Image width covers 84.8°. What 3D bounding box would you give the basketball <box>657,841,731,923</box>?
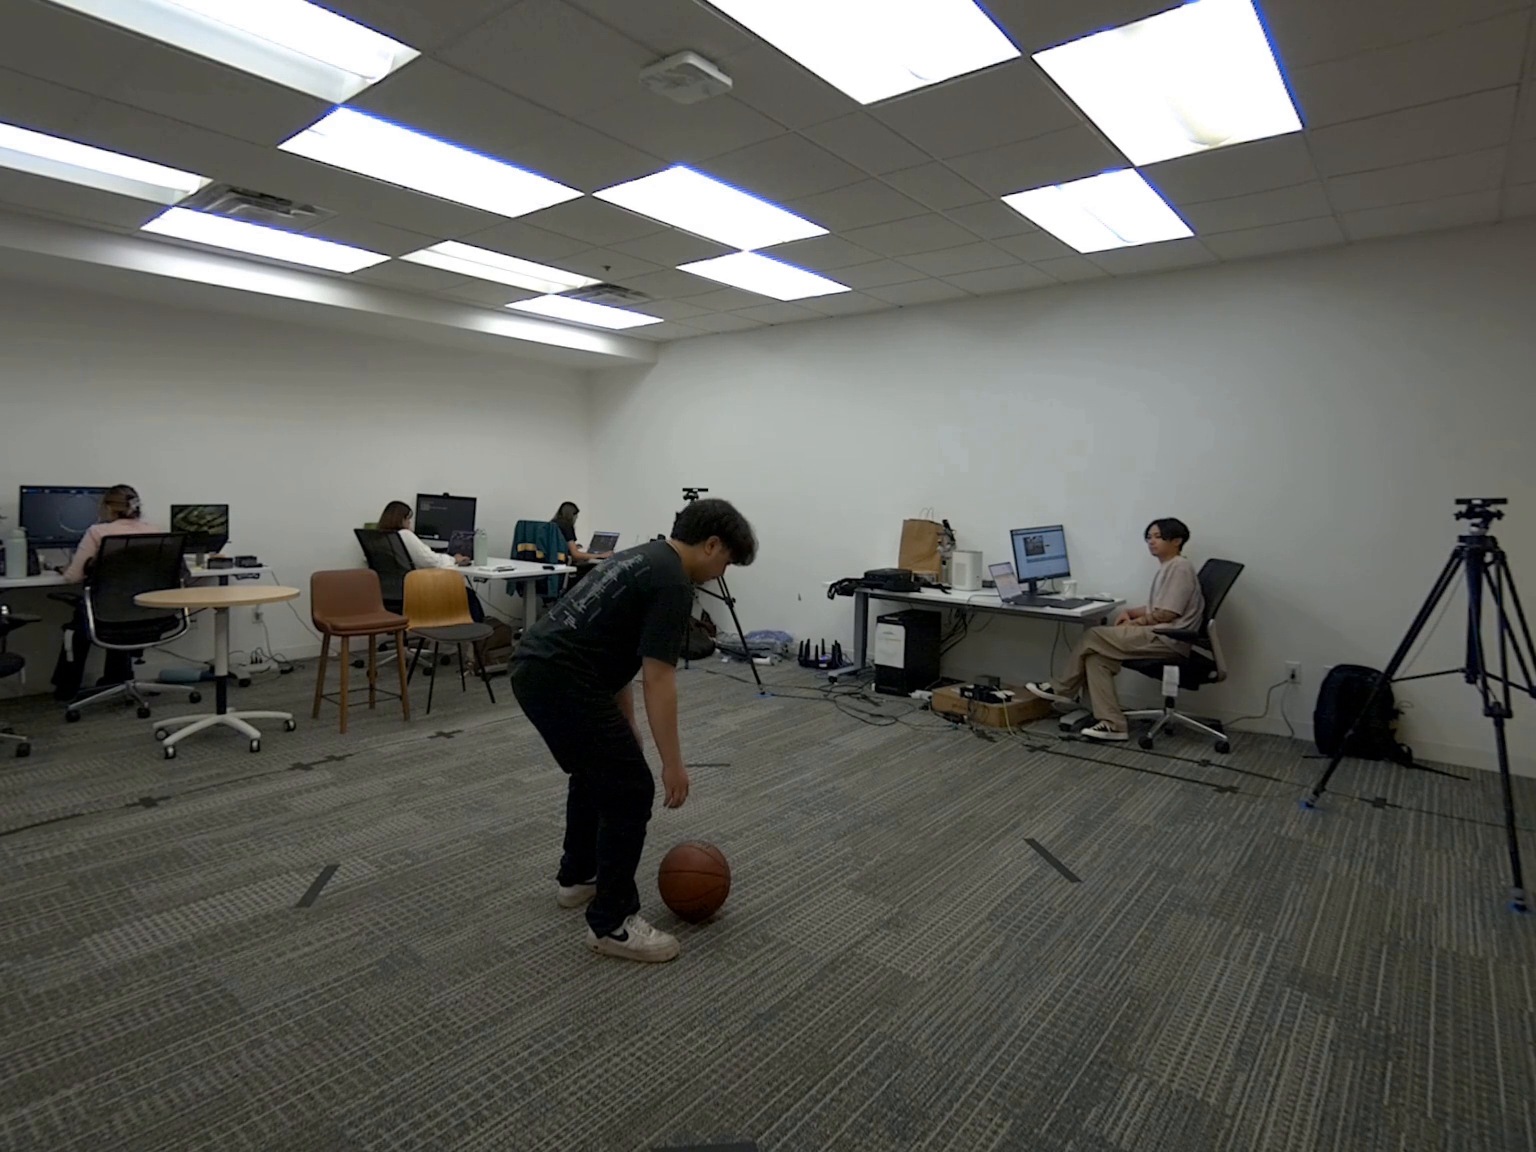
[{"bbox_3d":[-0.250,0.981,2.768,0.235,0.235,0.237,1,4,-2],"label":"basketball"}]
